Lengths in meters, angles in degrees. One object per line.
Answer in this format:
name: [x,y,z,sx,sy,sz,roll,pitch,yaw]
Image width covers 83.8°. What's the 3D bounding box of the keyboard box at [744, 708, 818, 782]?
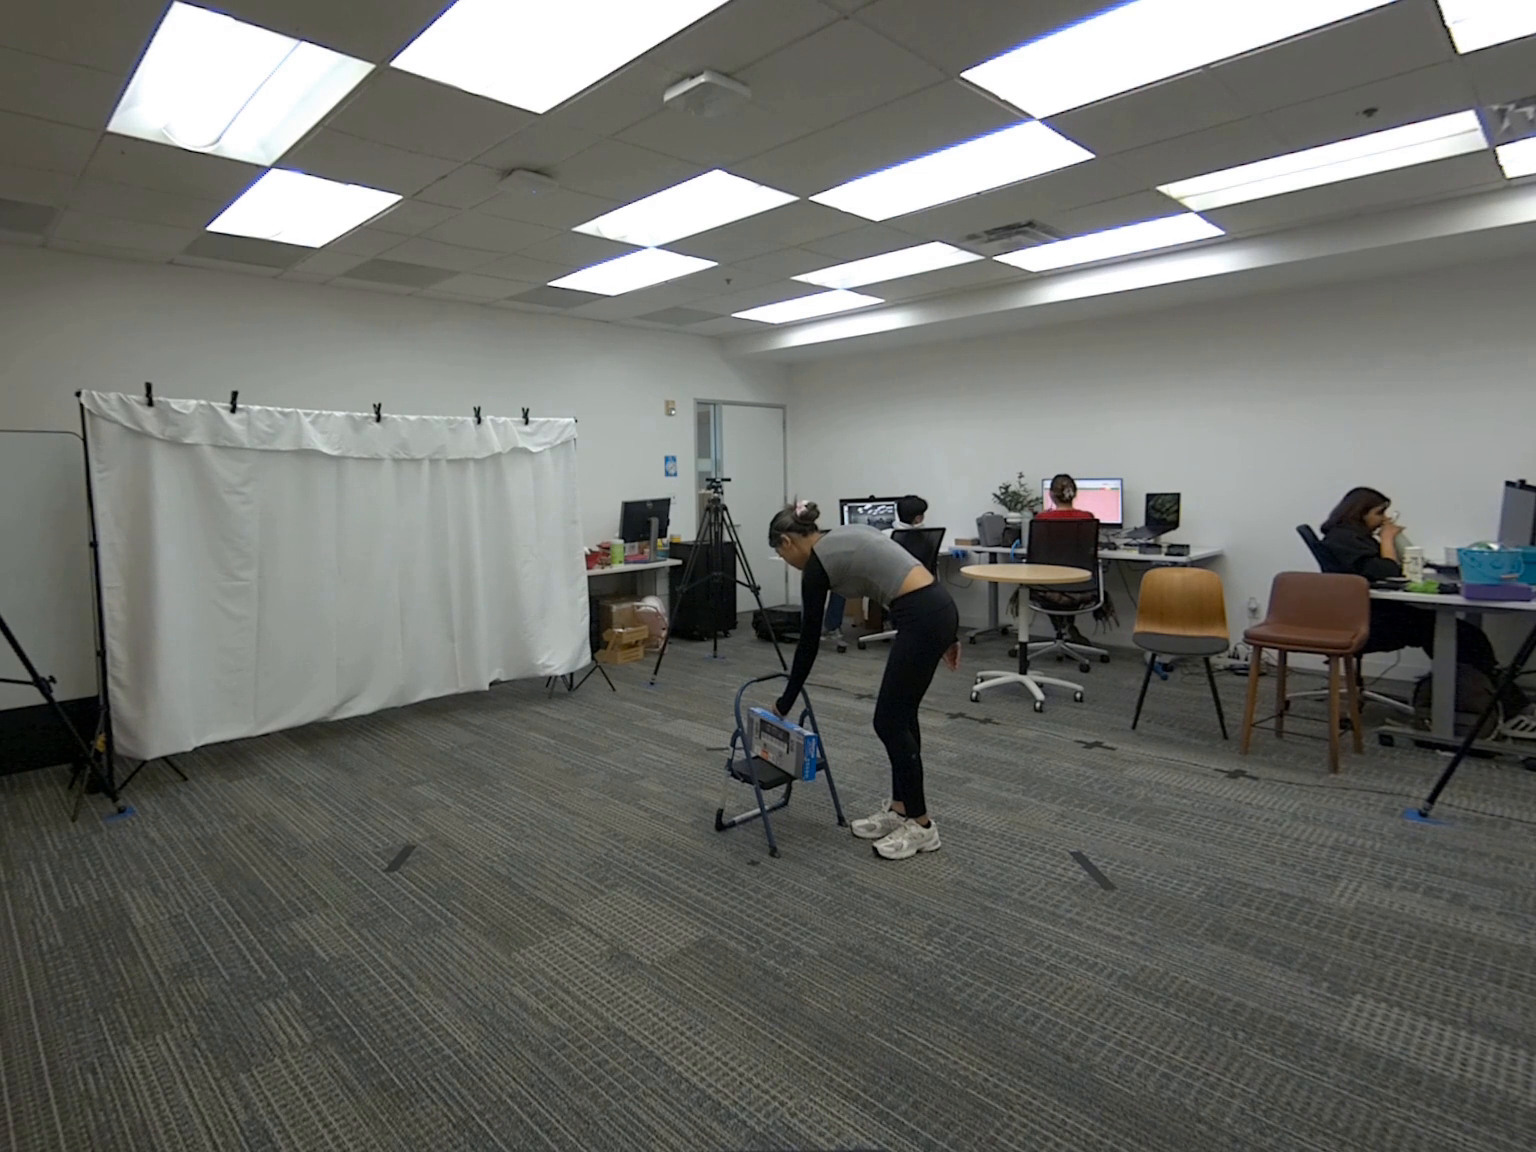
keyboard box: [0.048,0.658,3.394,0.057,0.175,0.449,2,4,-29]
